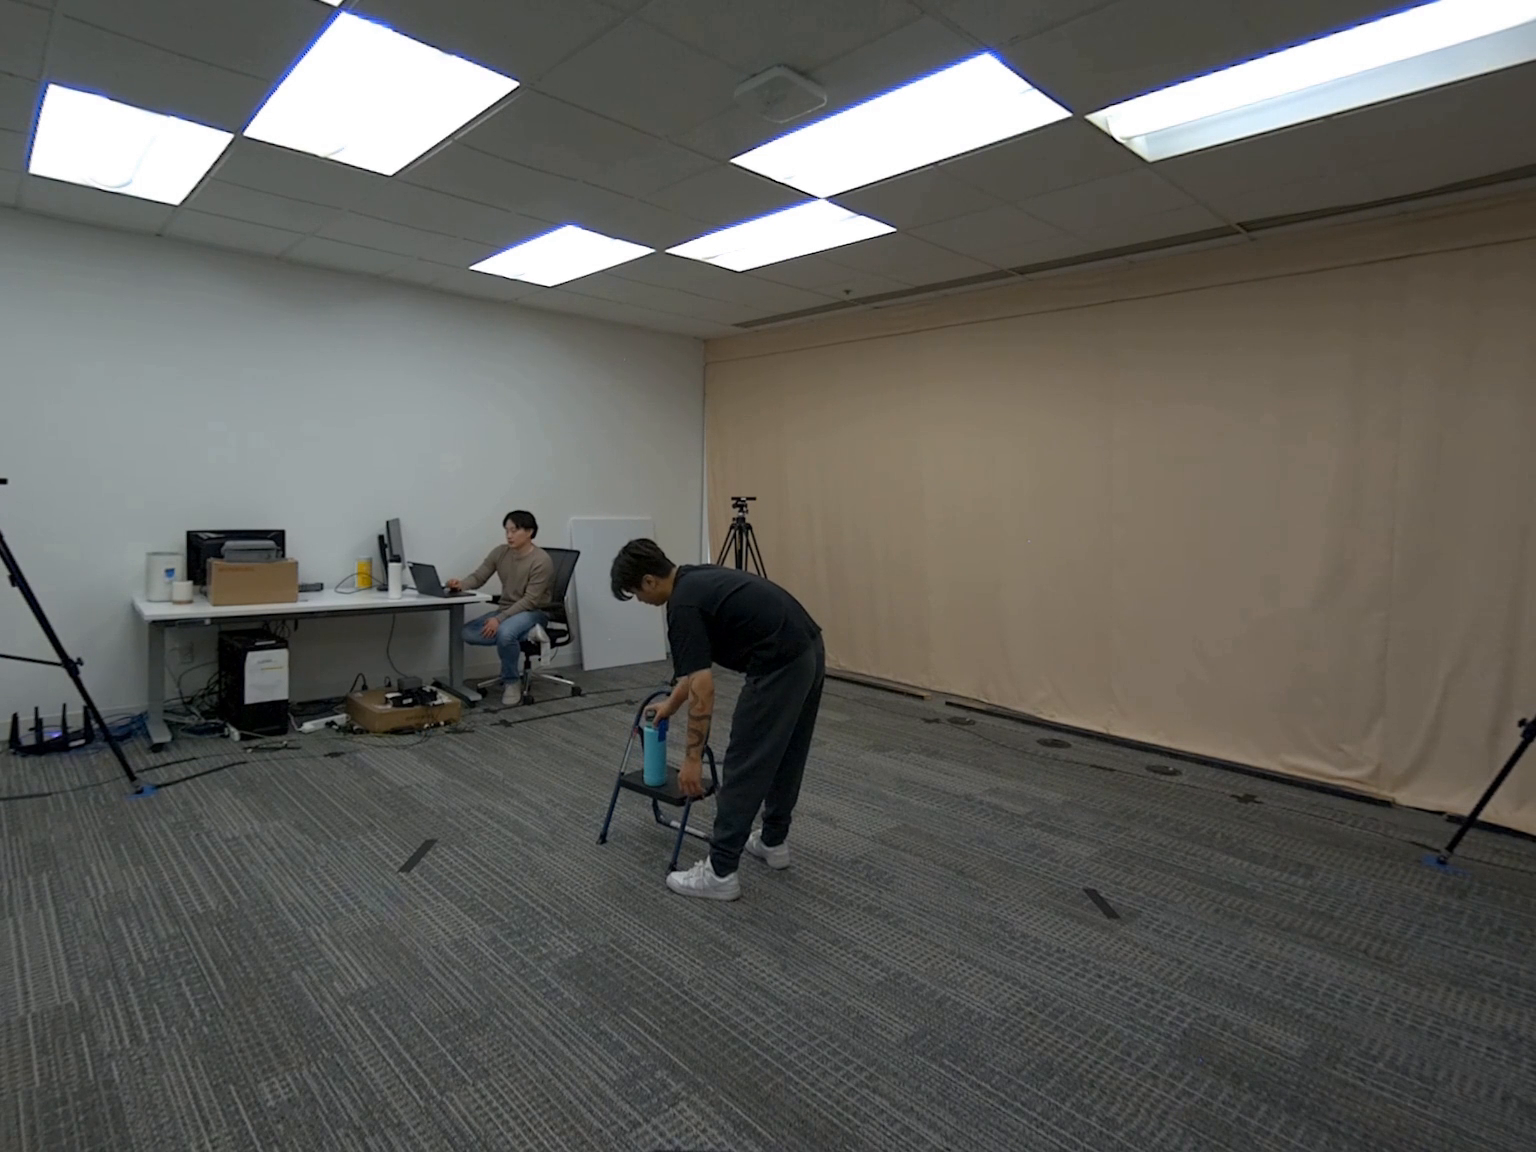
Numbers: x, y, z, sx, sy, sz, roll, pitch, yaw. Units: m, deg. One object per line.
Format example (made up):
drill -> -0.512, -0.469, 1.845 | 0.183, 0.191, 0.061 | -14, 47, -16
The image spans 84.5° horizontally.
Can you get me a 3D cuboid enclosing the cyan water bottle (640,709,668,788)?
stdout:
cyan water bottle -> -0.454, 0.678, 3.335 | 0.092, 0.283, 0.092 | -1, 3, -1
